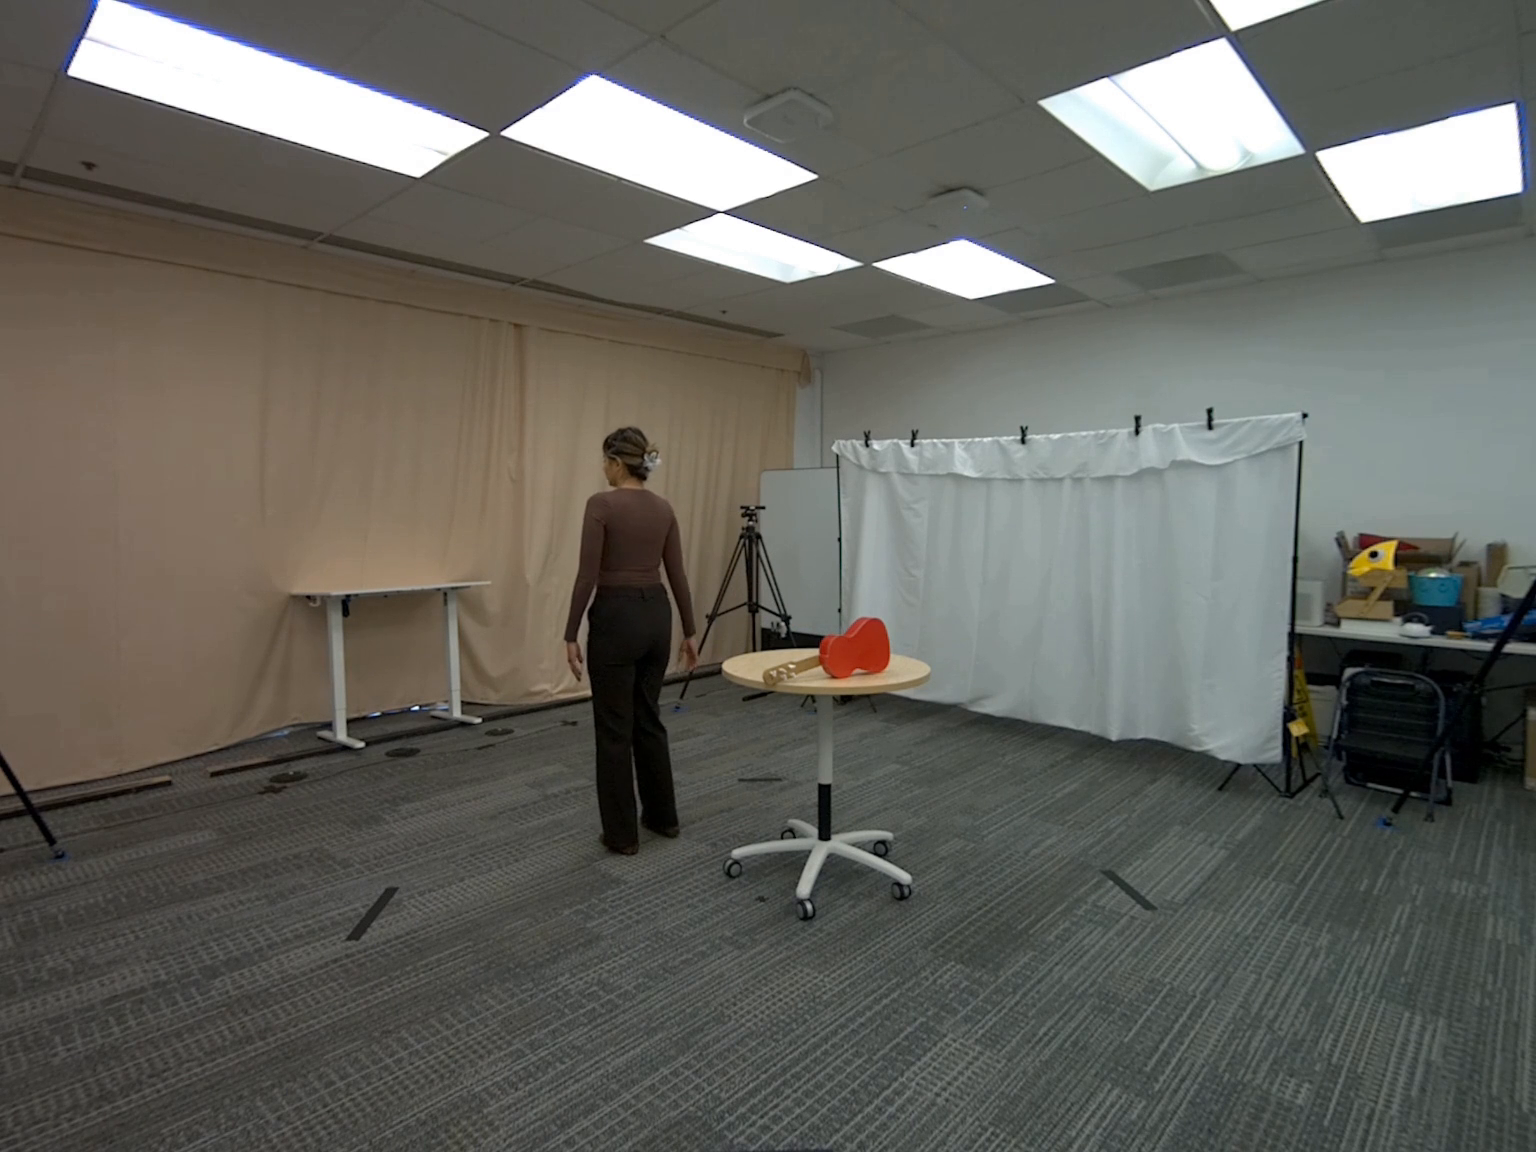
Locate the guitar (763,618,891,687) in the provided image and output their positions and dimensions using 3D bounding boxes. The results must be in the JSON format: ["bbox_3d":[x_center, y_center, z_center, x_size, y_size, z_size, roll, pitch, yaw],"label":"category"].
[{"bbox_3d":[0.220,0.313,2.897,0.489,0.191,0.073,-24,12,-27],"label":"guitar"}]
